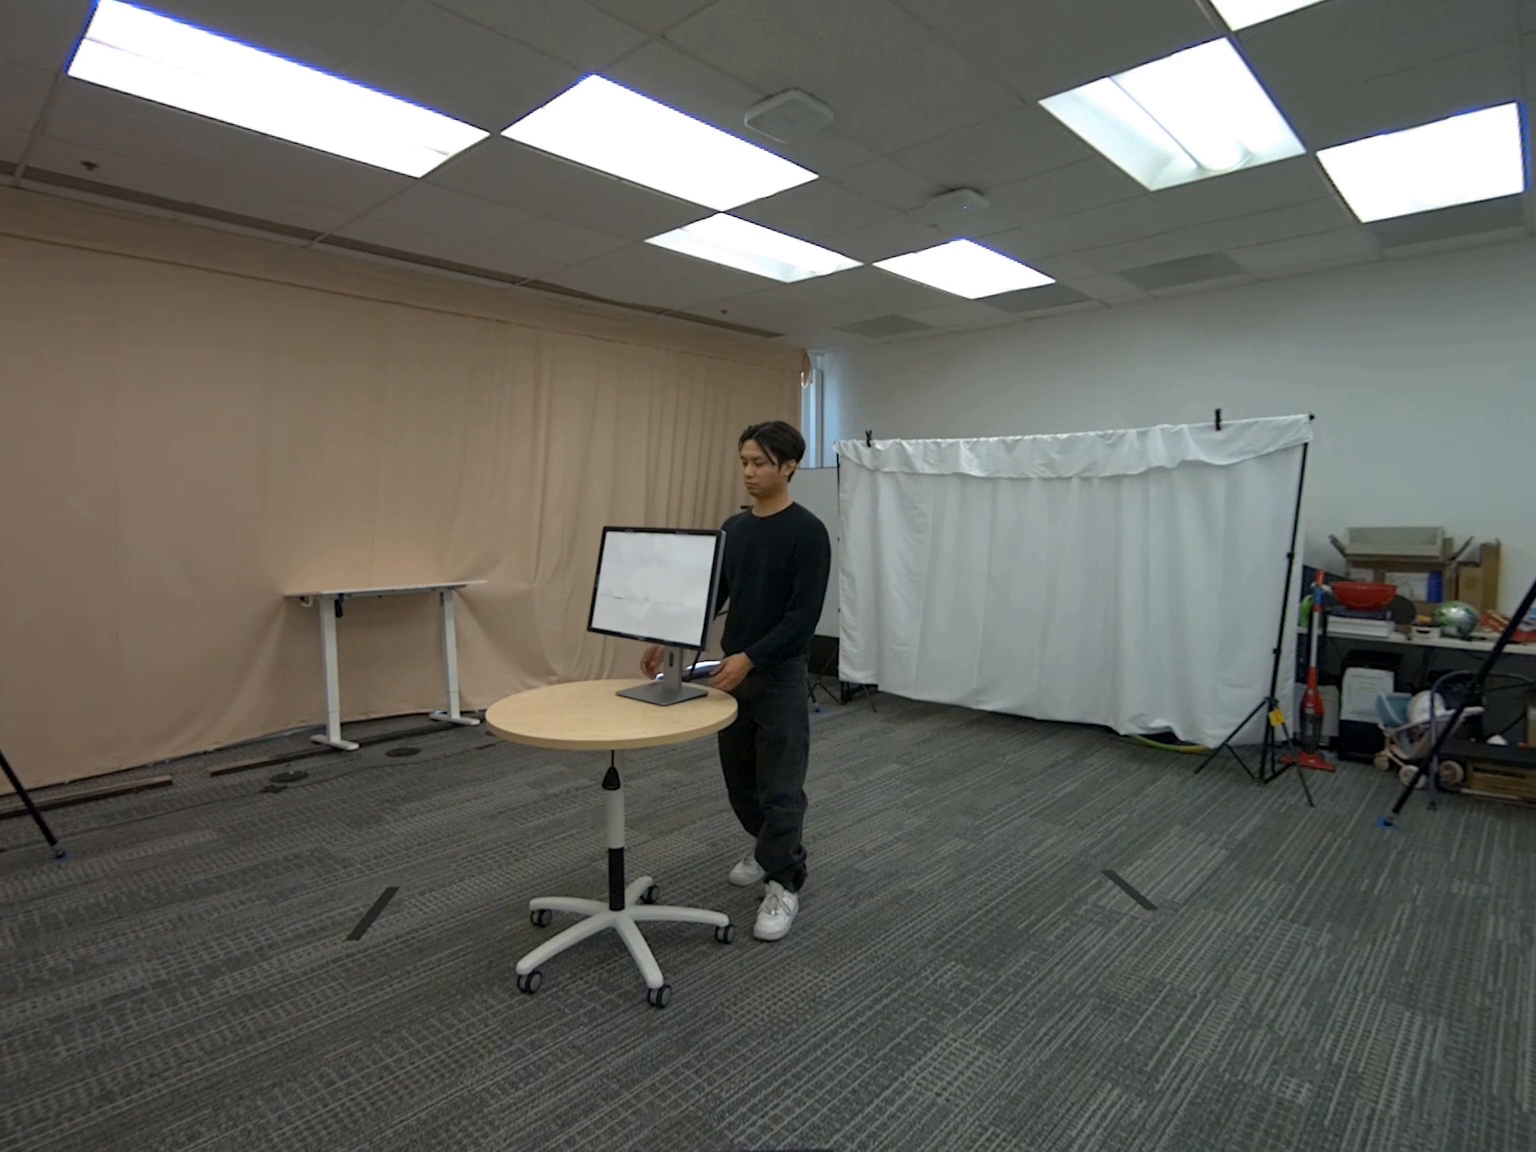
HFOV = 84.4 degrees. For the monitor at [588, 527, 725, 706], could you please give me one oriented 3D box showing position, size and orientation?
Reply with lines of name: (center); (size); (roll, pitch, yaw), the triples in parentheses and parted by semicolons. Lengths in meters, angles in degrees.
monitor: (-0.339, 0.119, 2.718); (0.557, 0.521, 0.181); (3, 5, 38)
